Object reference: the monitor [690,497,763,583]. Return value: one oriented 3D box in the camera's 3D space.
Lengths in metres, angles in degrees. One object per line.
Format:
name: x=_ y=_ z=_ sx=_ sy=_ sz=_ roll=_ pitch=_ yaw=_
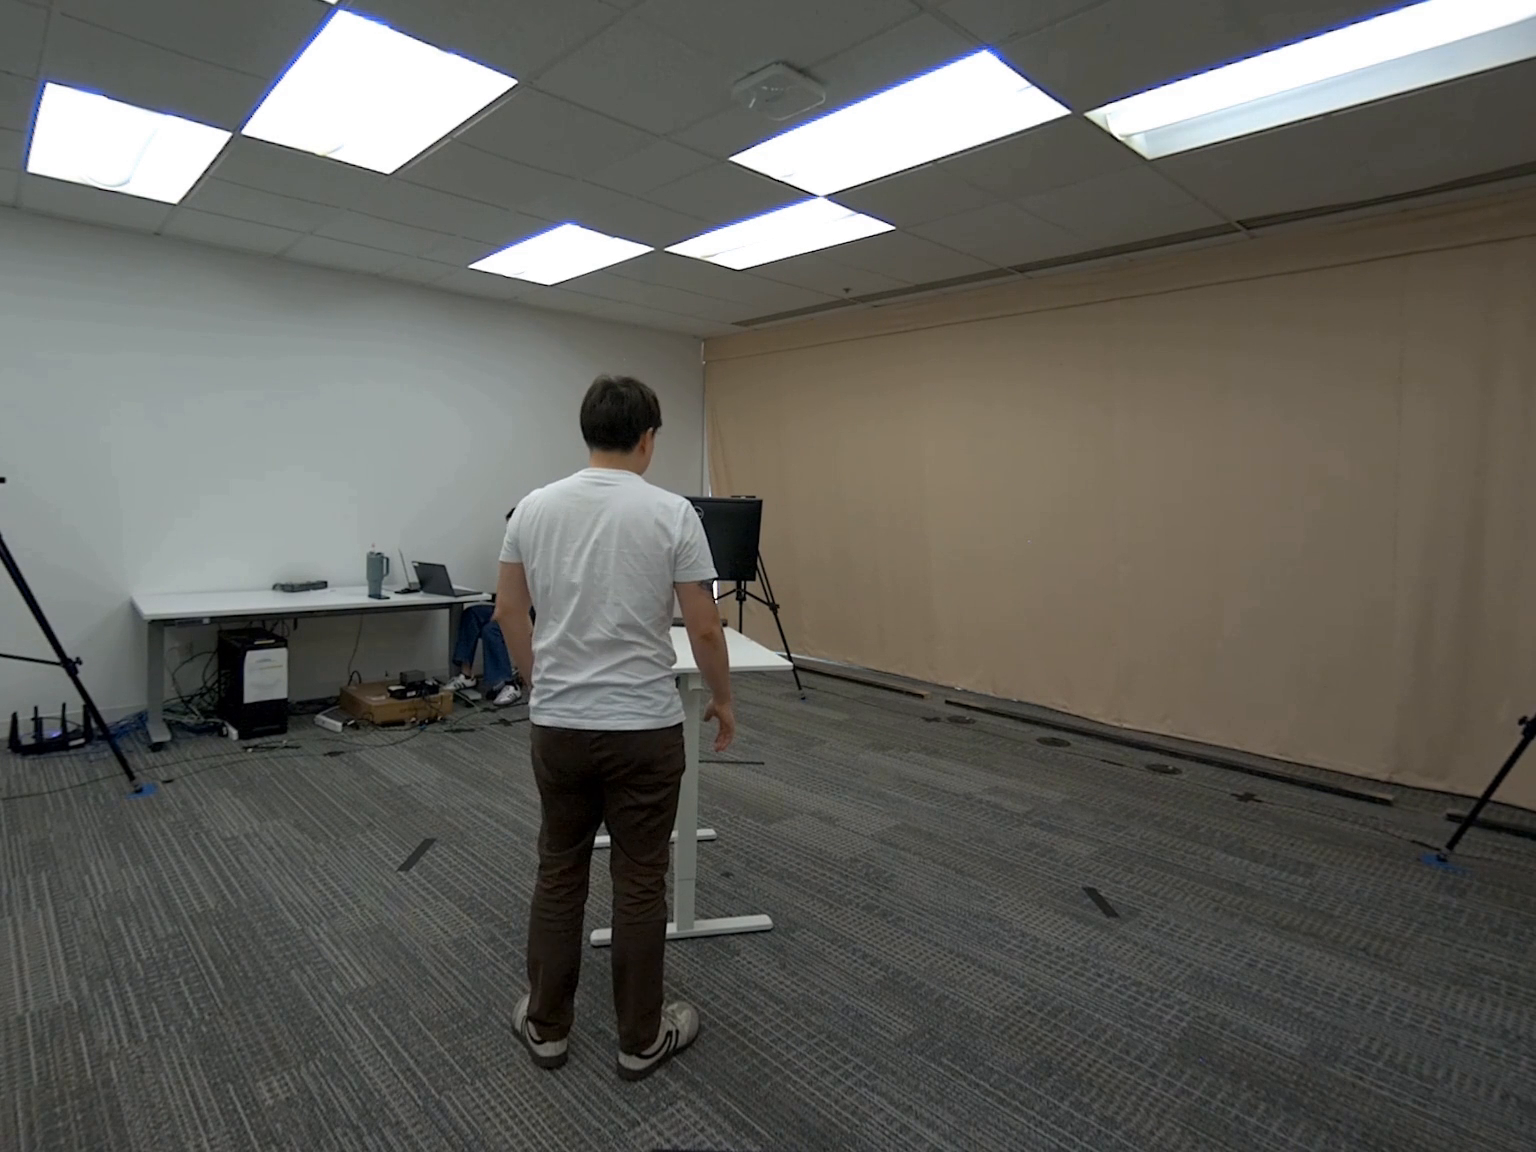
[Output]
monitor: x=-0.296 y=-0.055 z=3.362 sx=0.534 sy=0.521 sz=0.189 roll=1 pitch=5 yaw=-11
